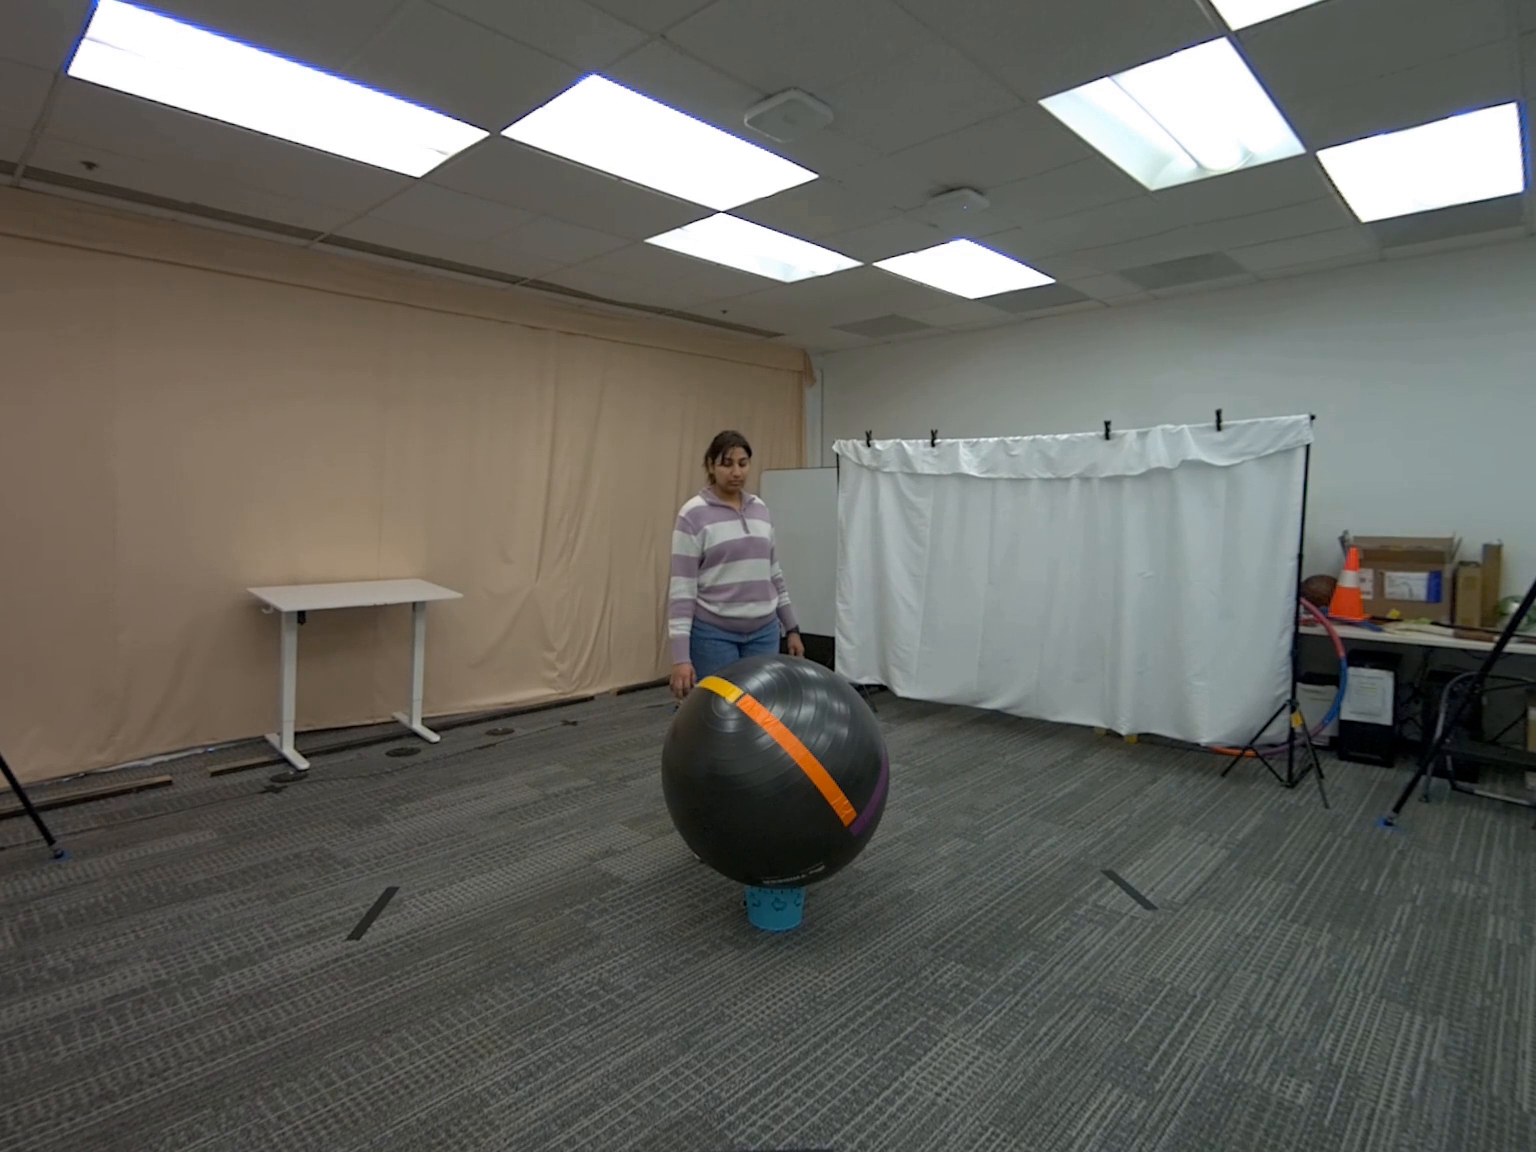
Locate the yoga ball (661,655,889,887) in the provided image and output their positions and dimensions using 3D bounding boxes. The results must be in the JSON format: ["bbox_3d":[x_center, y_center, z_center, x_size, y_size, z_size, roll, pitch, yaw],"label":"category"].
[{"bbox_3d":[0.028,0.641,2.827,0.757,0.756,0.760,0,4,-2],"label":"yoga ball"}]
